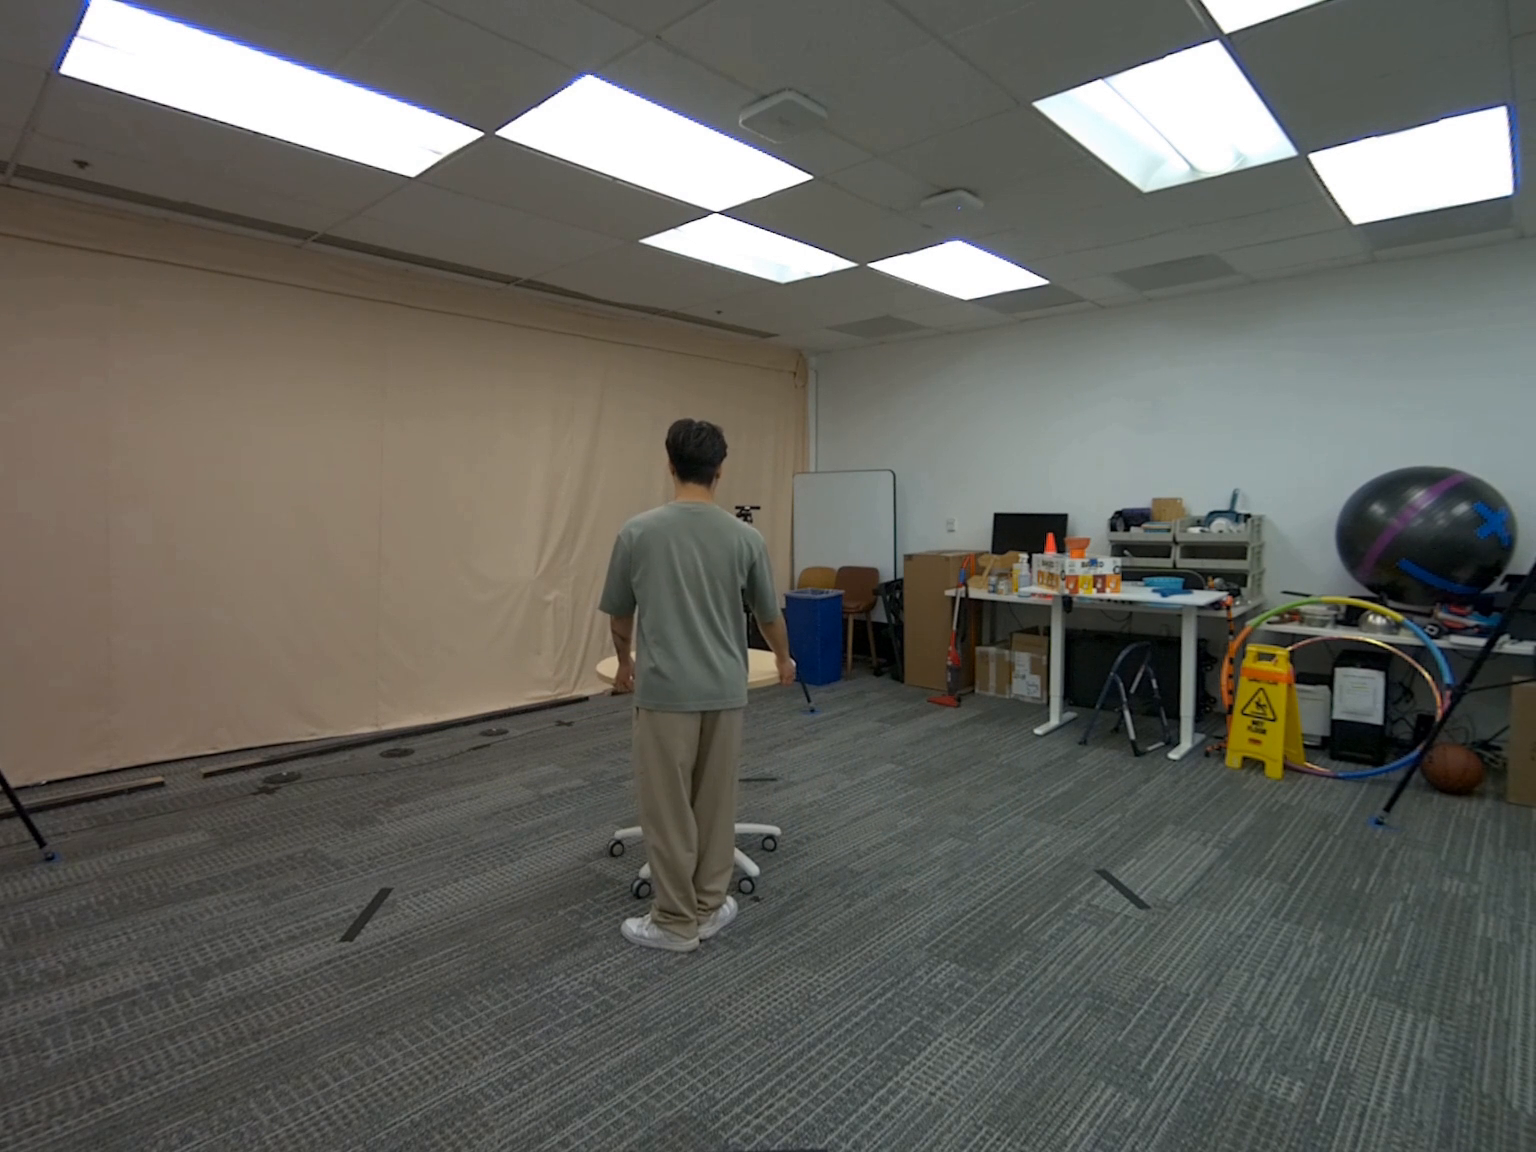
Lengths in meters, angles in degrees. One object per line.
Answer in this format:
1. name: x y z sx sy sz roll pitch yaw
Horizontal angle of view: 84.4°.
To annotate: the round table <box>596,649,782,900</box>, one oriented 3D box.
1. round table: -0.274 0.724 3.283 0.784 0.784 0.788 -1 5 -2
